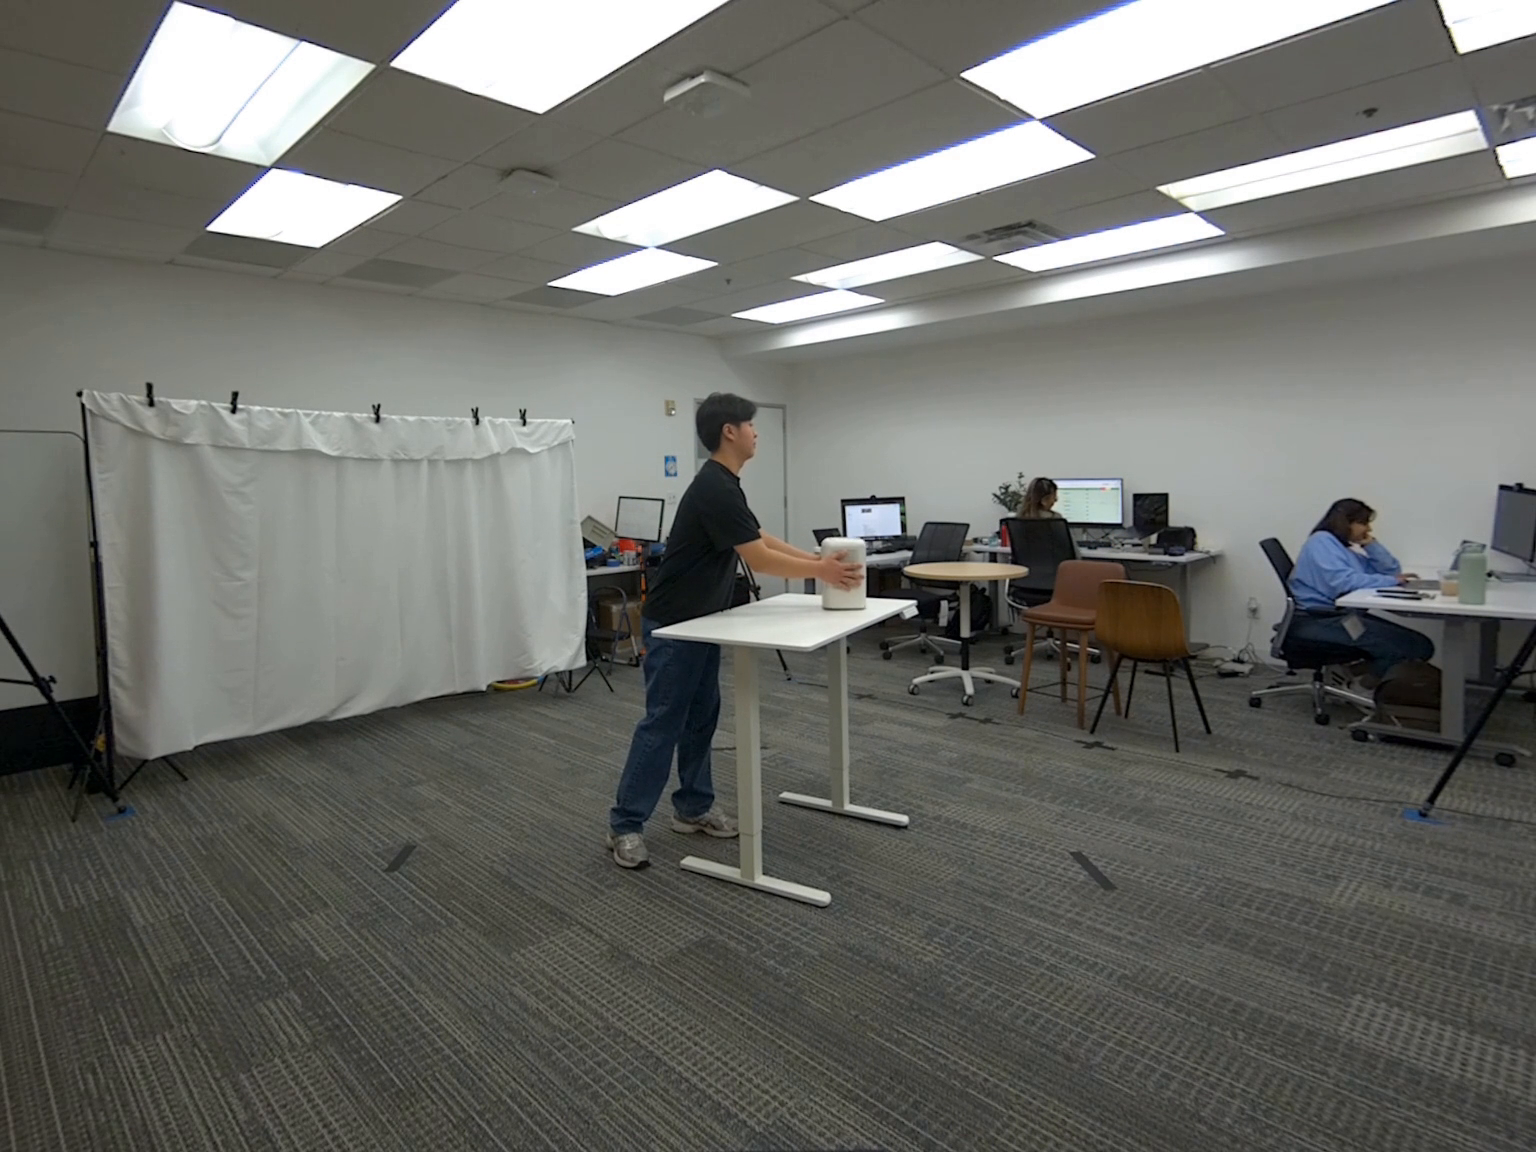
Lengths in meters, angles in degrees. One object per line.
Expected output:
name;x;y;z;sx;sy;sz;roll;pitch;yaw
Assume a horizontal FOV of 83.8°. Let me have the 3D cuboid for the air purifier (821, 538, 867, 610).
air purifier;0.289;-0.016;3.332;0.172;0.264;0.171;-1;5;3
